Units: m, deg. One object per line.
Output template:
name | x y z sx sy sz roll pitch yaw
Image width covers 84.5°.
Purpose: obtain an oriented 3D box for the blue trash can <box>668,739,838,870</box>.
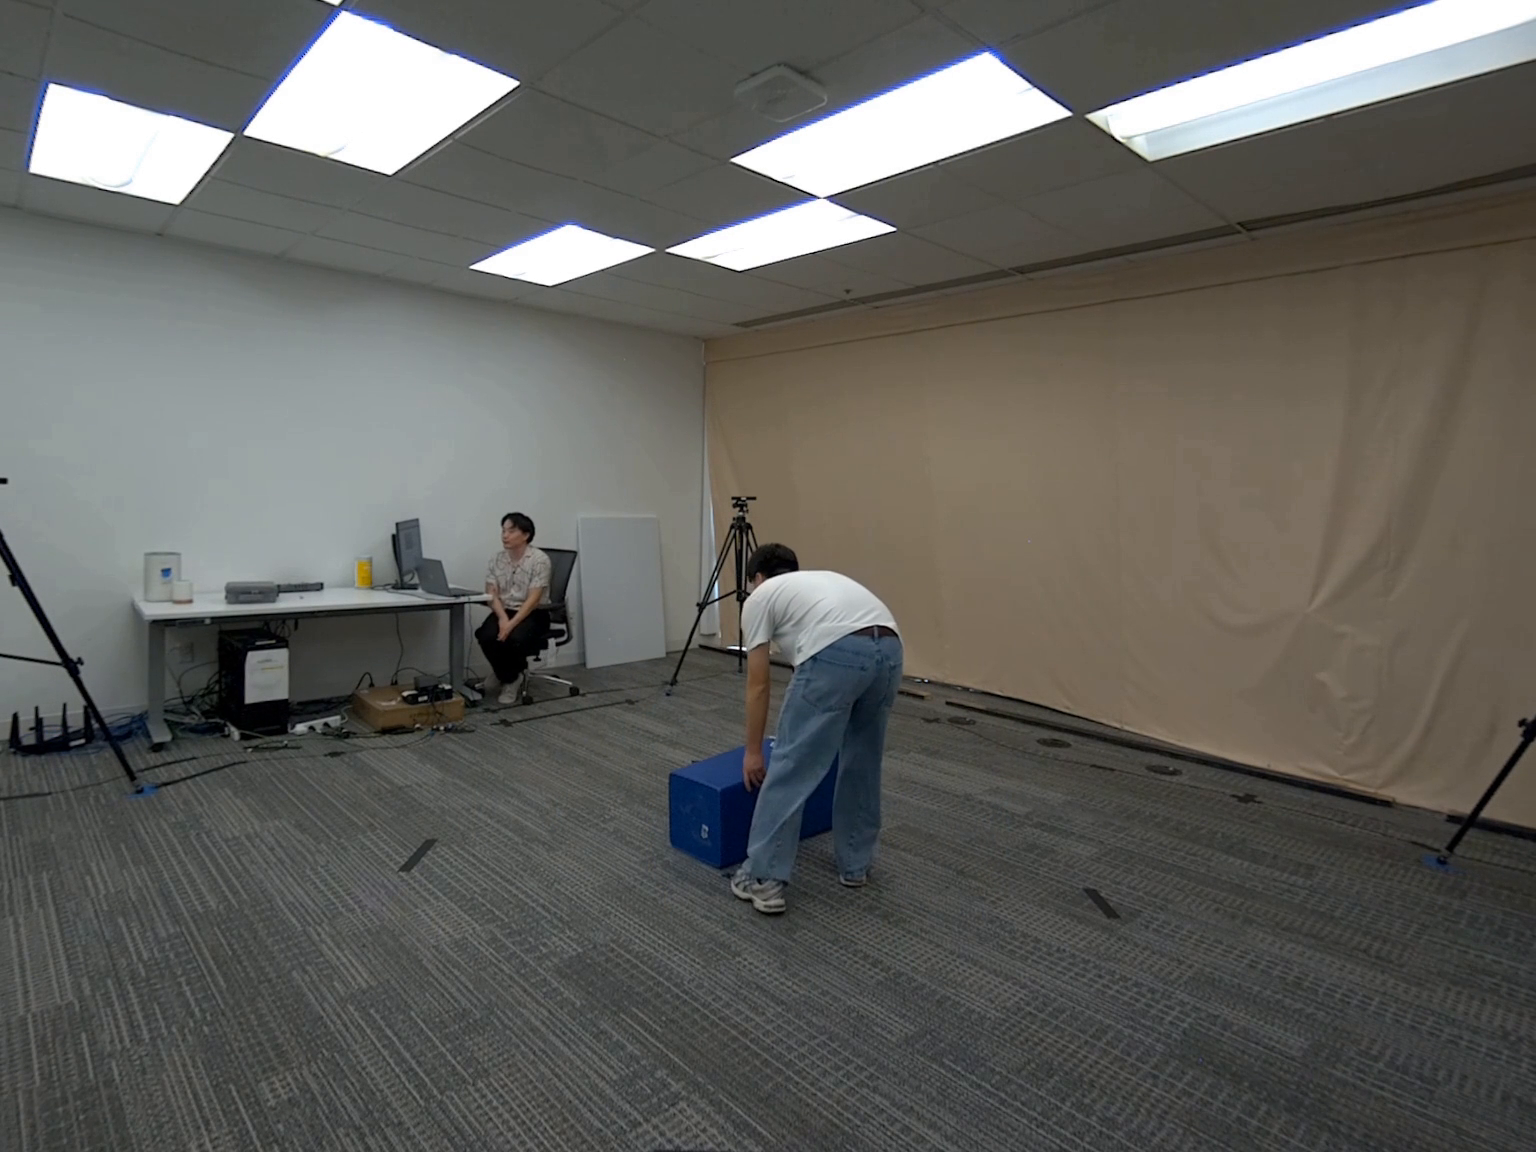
blue trash can | -0.035 0.912 3.474 0.698 0.376 0.383 -6 8 -44
